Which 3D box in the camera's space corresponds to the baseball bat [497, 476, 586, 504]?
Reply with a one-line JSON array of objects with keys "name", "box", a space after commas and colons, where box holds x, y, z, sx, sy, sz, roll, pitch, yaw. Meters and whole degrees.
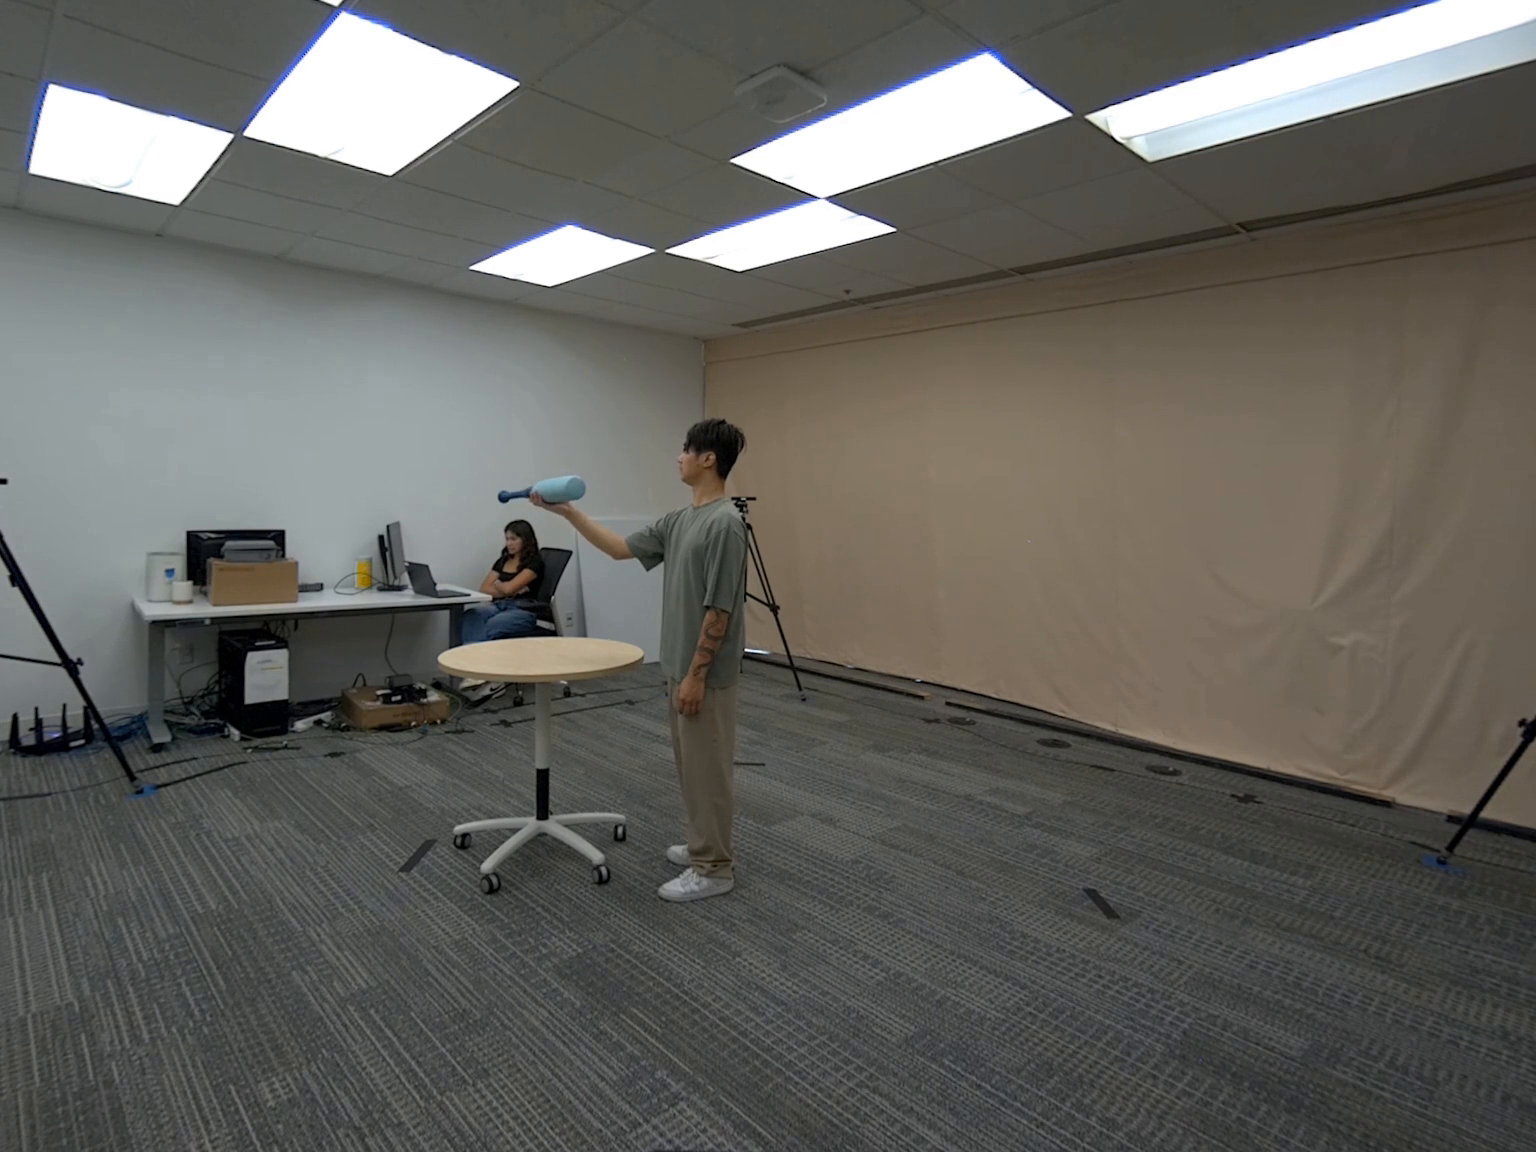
[{"name": "baseball bat", "box": [-0.859, -0.320, 3.110, 0.087, 0.089, 0.556, -3, 3, -44]}]
